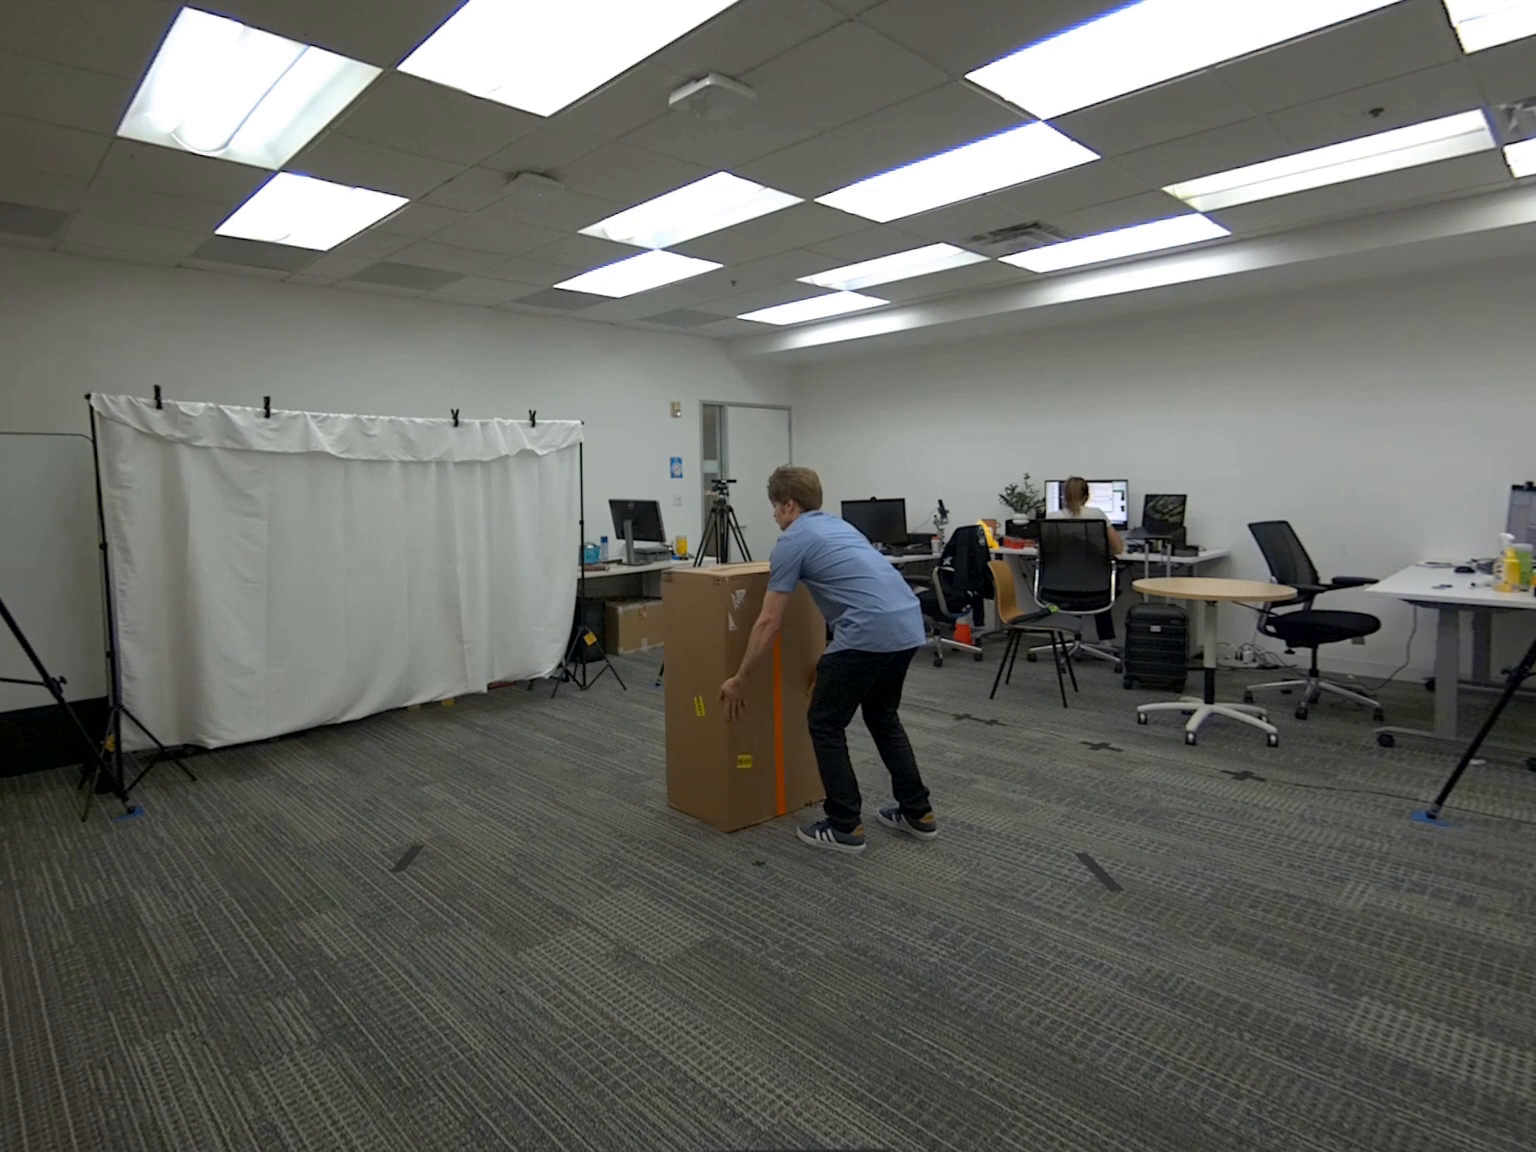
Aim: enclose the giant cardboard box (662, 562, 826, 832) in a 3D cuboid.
[{"bbox_3d":[-0.097,0.476,3.696,0.562,1.023,0.439,-4,4,-40],"label":"giant cardboard box"}]
